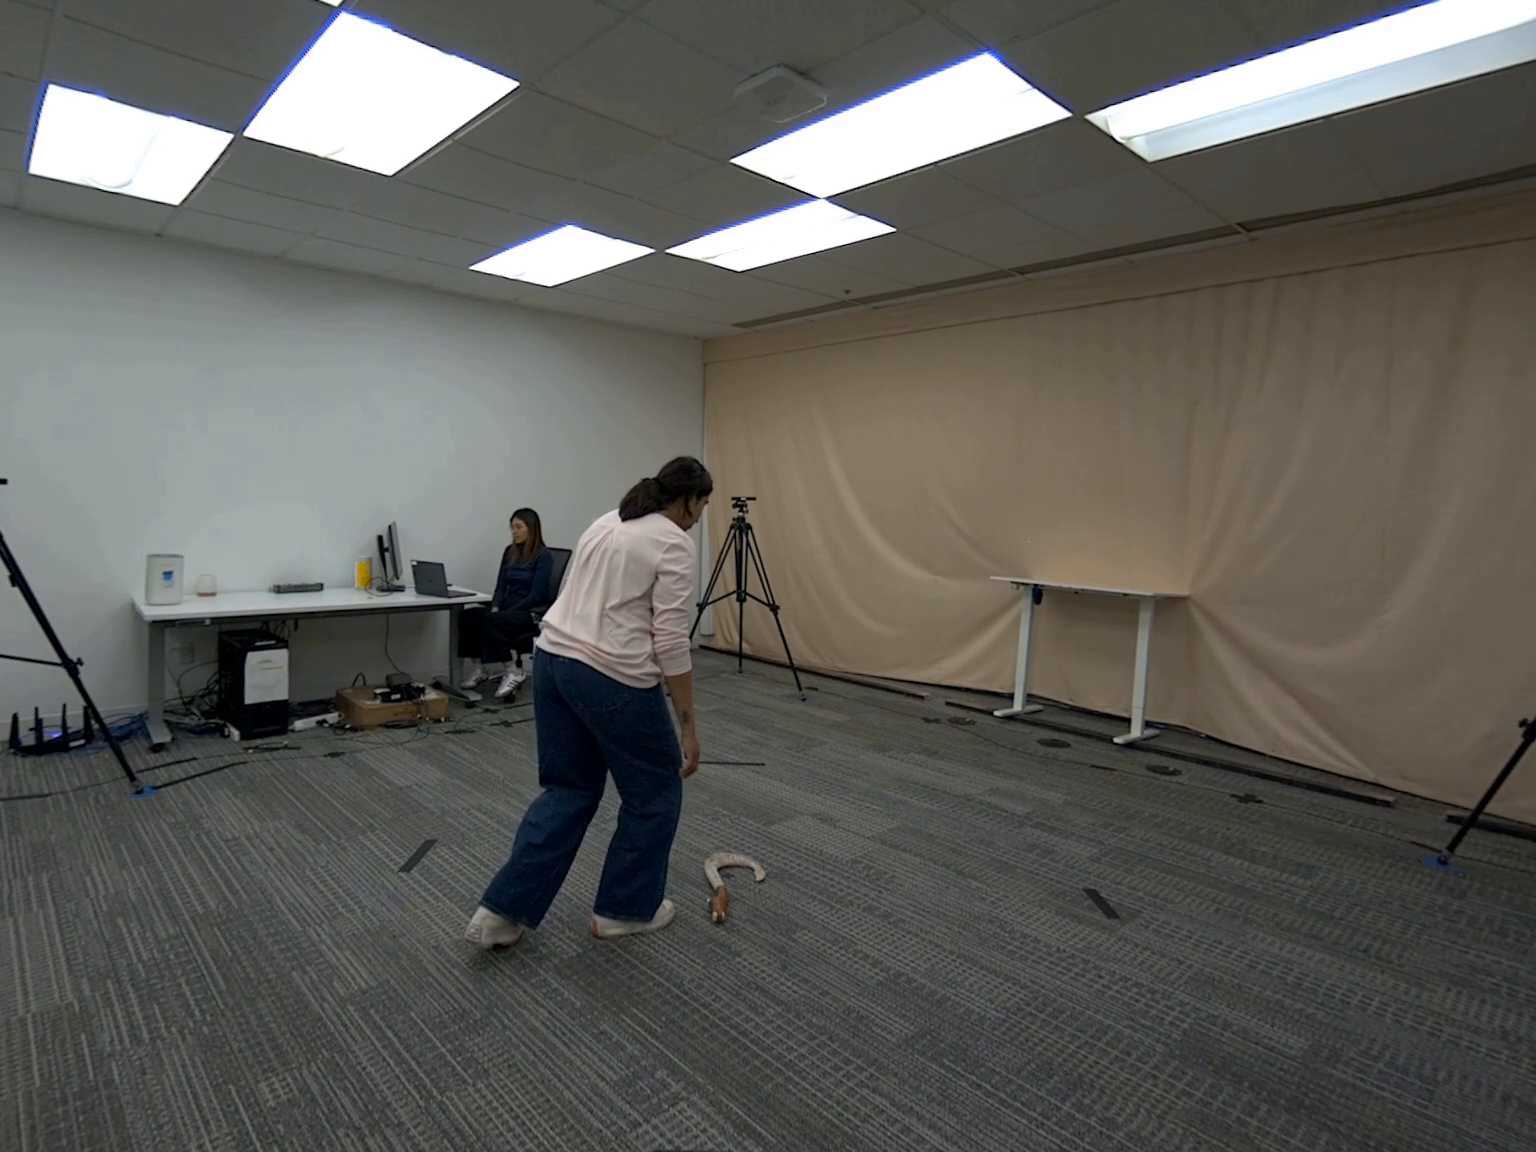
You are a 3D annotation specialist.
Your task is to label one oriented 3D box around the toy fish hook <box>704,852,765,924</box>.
[{"bbox_3d":[-0.124,1.095,2.979,0.224,0.048,0.509,0,6,-2],"label":"toy fish hook"}]
